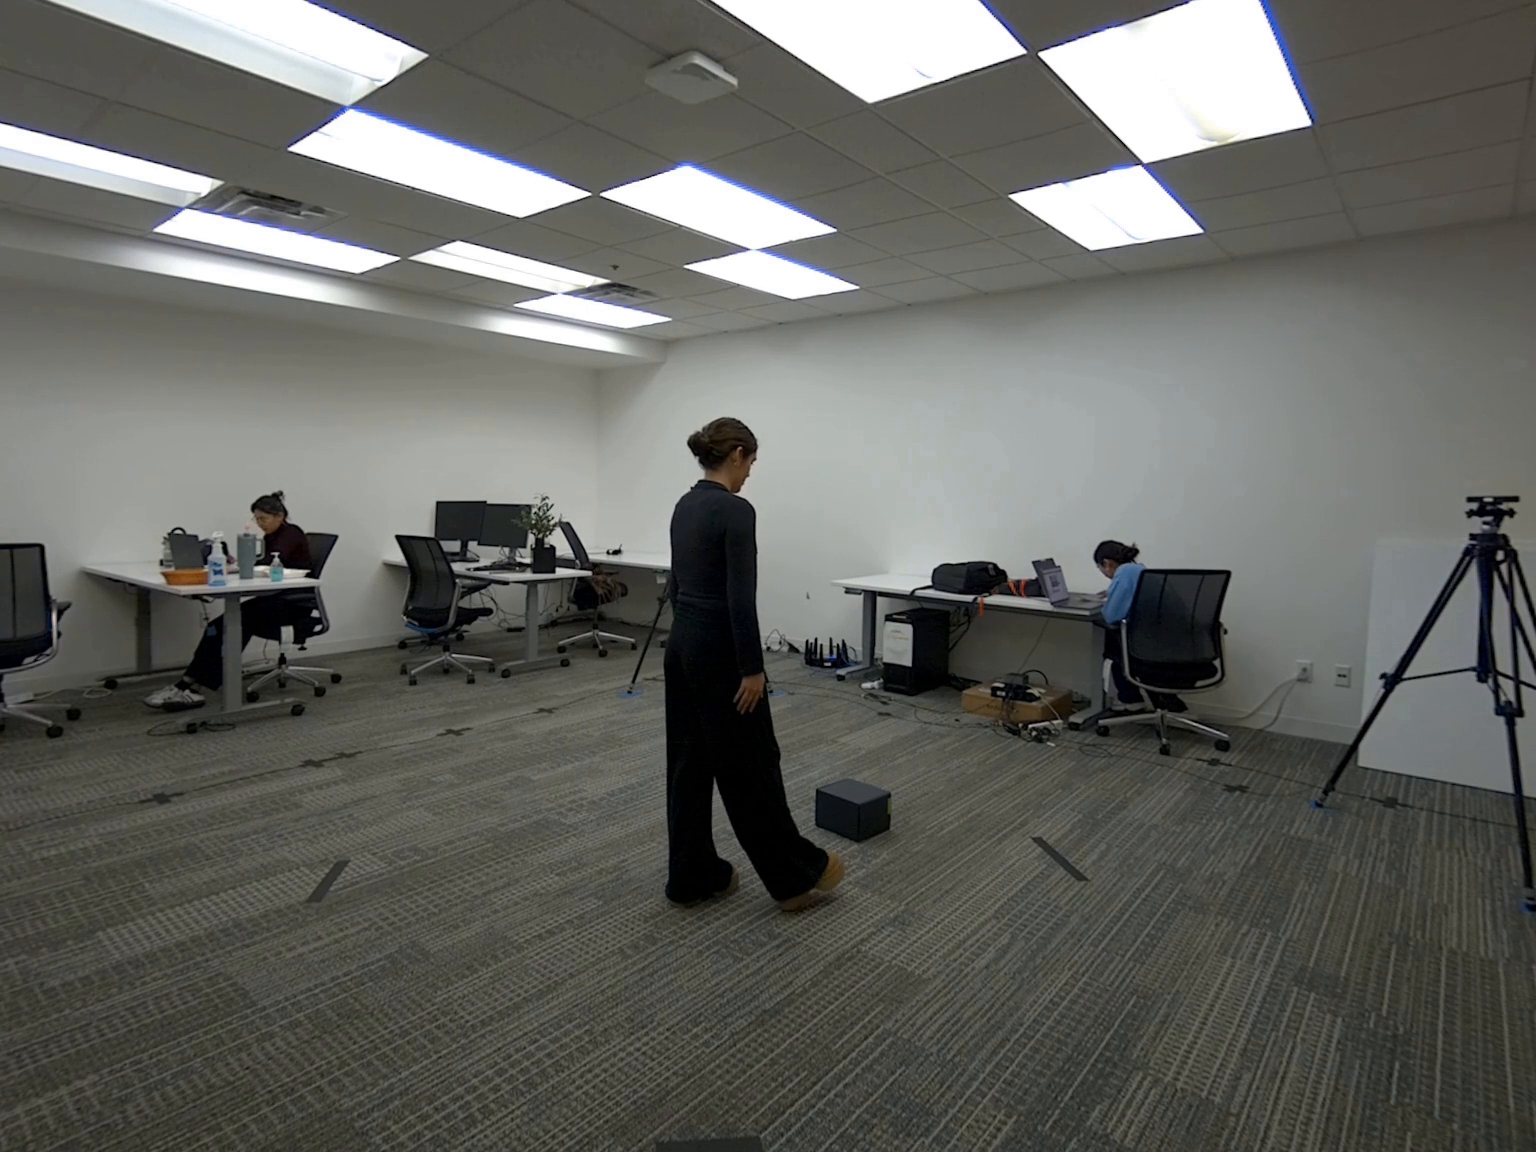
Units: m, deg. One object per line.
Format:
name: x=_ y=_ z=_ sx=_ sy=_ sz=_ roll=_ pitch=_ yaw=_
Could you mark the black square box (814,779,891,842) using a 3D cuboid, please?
black square box: x=0.343 y=0.953 z=3.503 sx=0.210 sy=0.155 sz=0.236 roll=-3 pitch=6 yaw=-45
